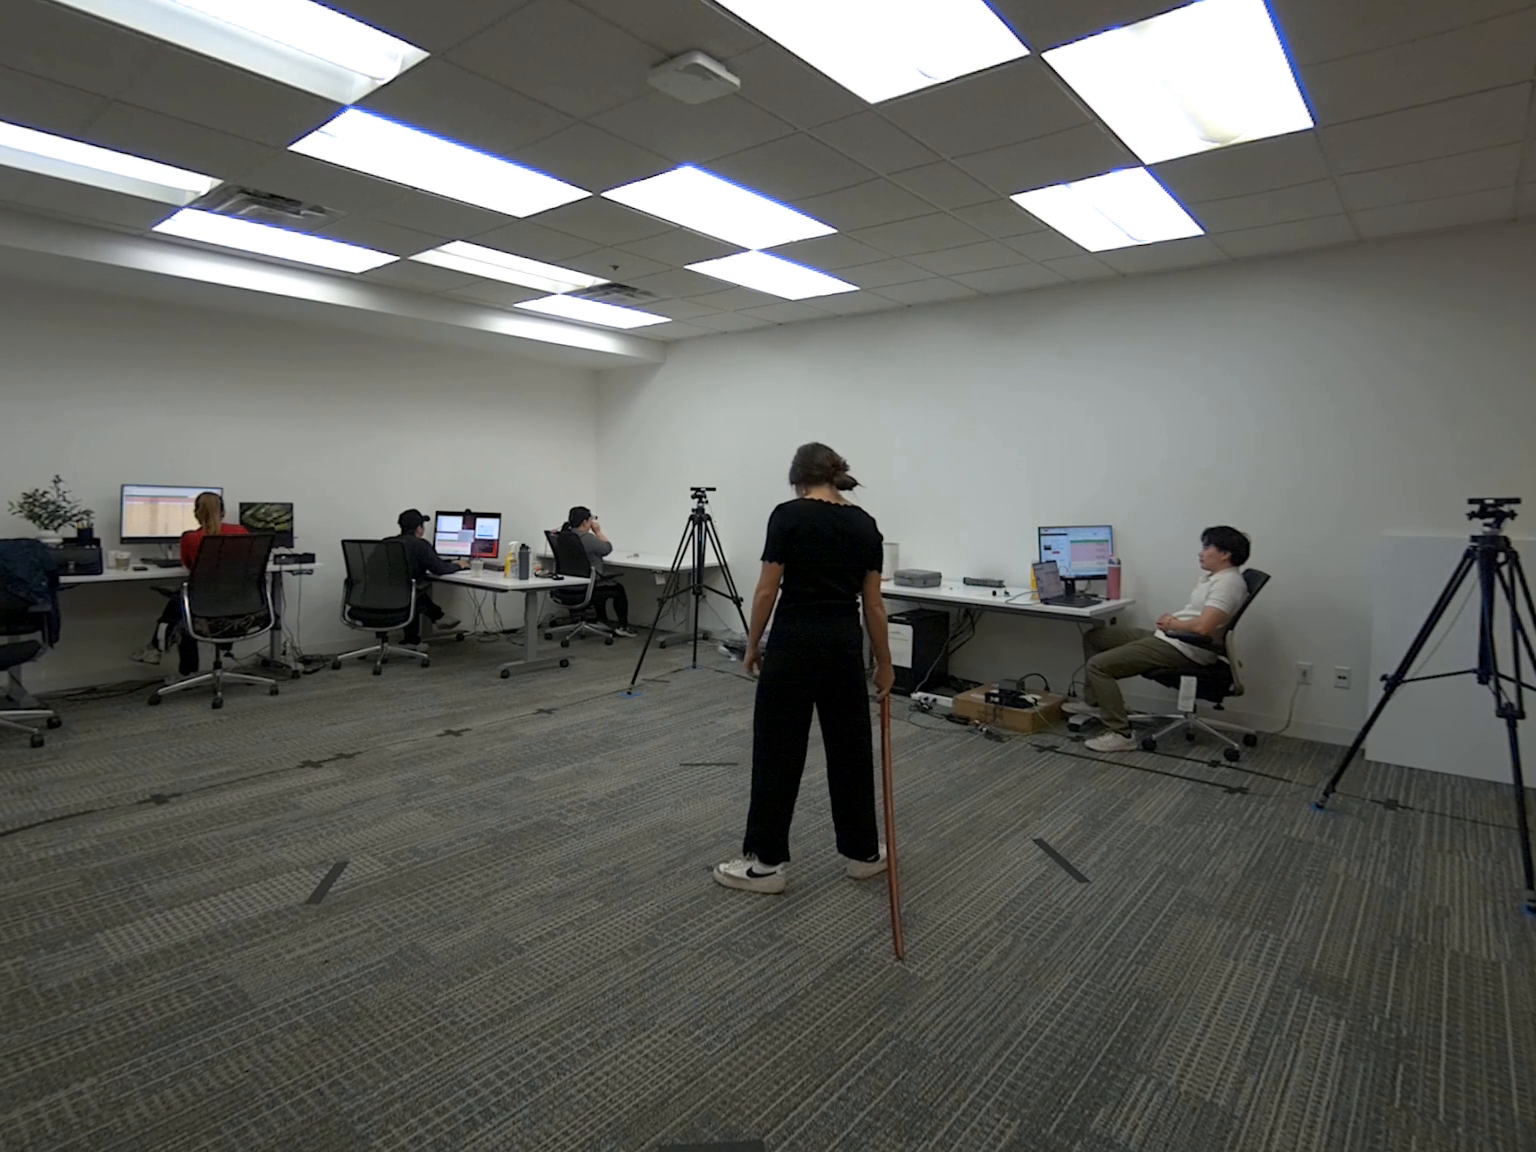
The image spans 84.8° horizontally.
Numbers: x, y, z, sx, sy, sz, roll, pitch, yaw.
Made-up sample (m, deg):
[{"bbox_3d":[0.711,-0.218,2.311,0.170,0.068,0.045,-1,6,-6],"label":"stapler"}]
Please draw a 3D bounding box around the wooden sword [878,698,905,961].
[{"bbox_3d":[0.413,0.748,2.861,0.024,1.051,0.050,11,-42,-10],"label":"wooden sword"}]
